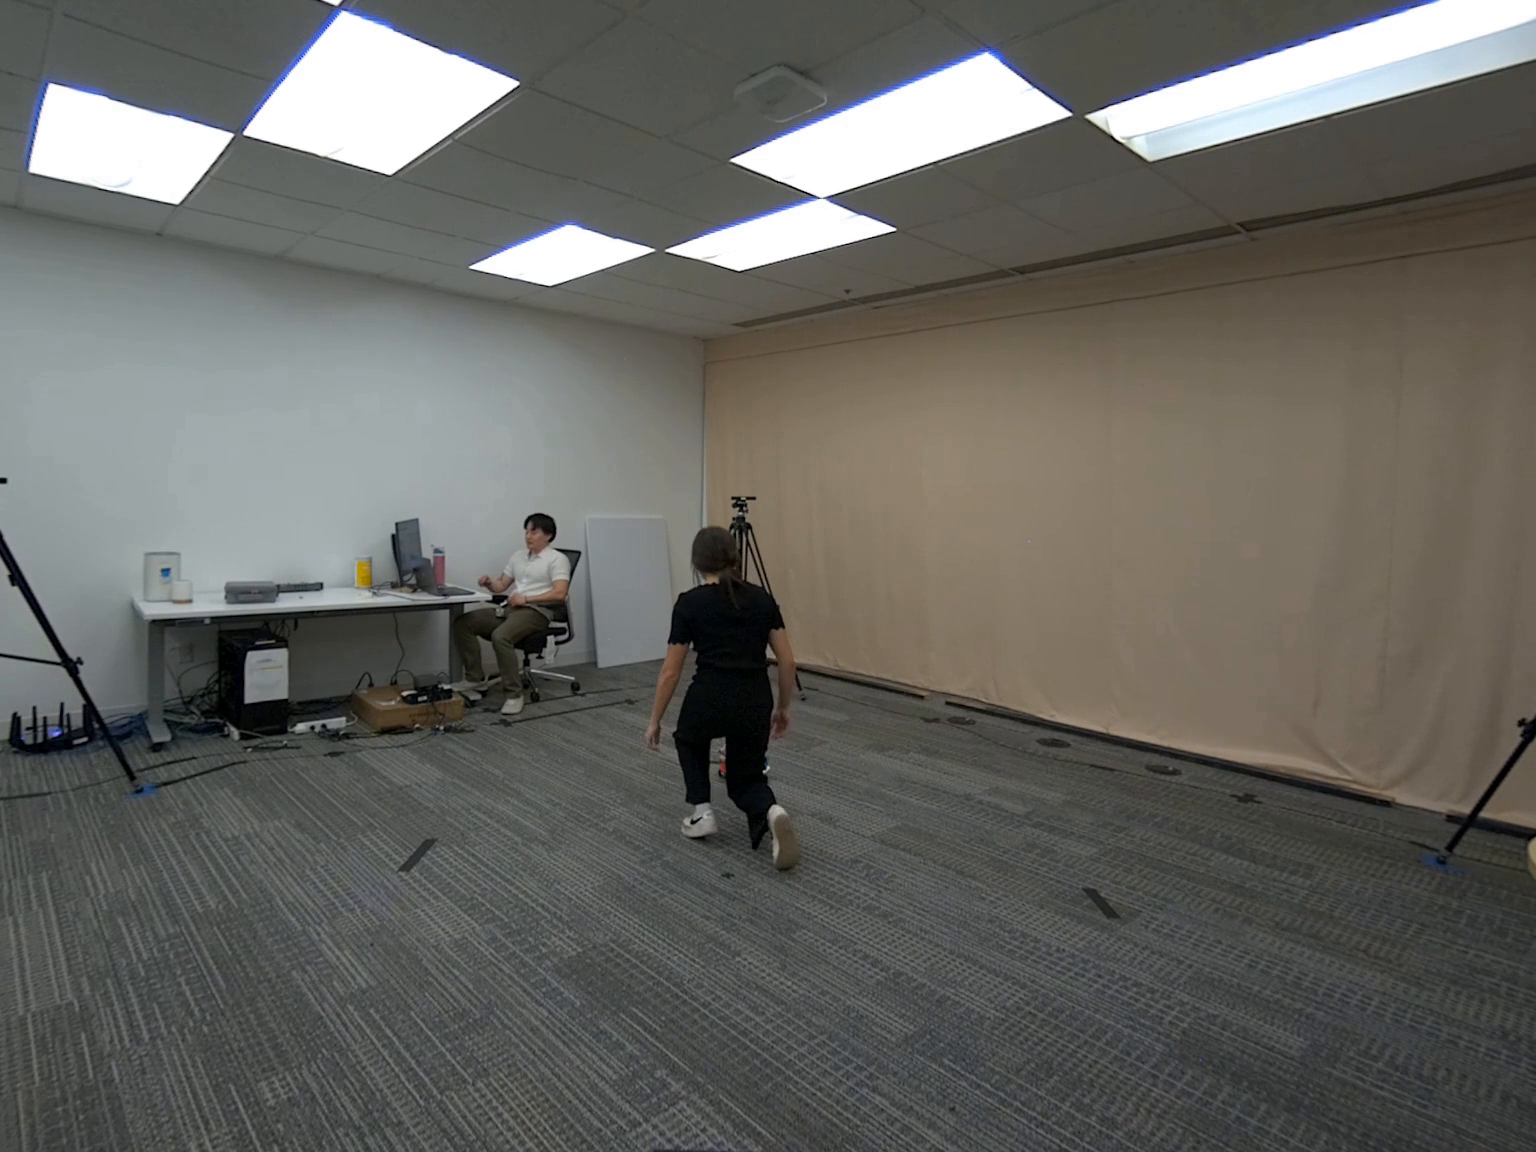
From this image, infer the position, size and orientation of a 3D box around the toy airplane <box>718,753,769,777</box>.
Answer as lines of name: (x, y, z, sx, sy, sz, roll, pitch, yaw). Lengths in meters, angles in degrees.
toy airplane: (-0.131, 0.942, 4.241, 0.258, 0.156, 0.253, 0, 4, -7)
